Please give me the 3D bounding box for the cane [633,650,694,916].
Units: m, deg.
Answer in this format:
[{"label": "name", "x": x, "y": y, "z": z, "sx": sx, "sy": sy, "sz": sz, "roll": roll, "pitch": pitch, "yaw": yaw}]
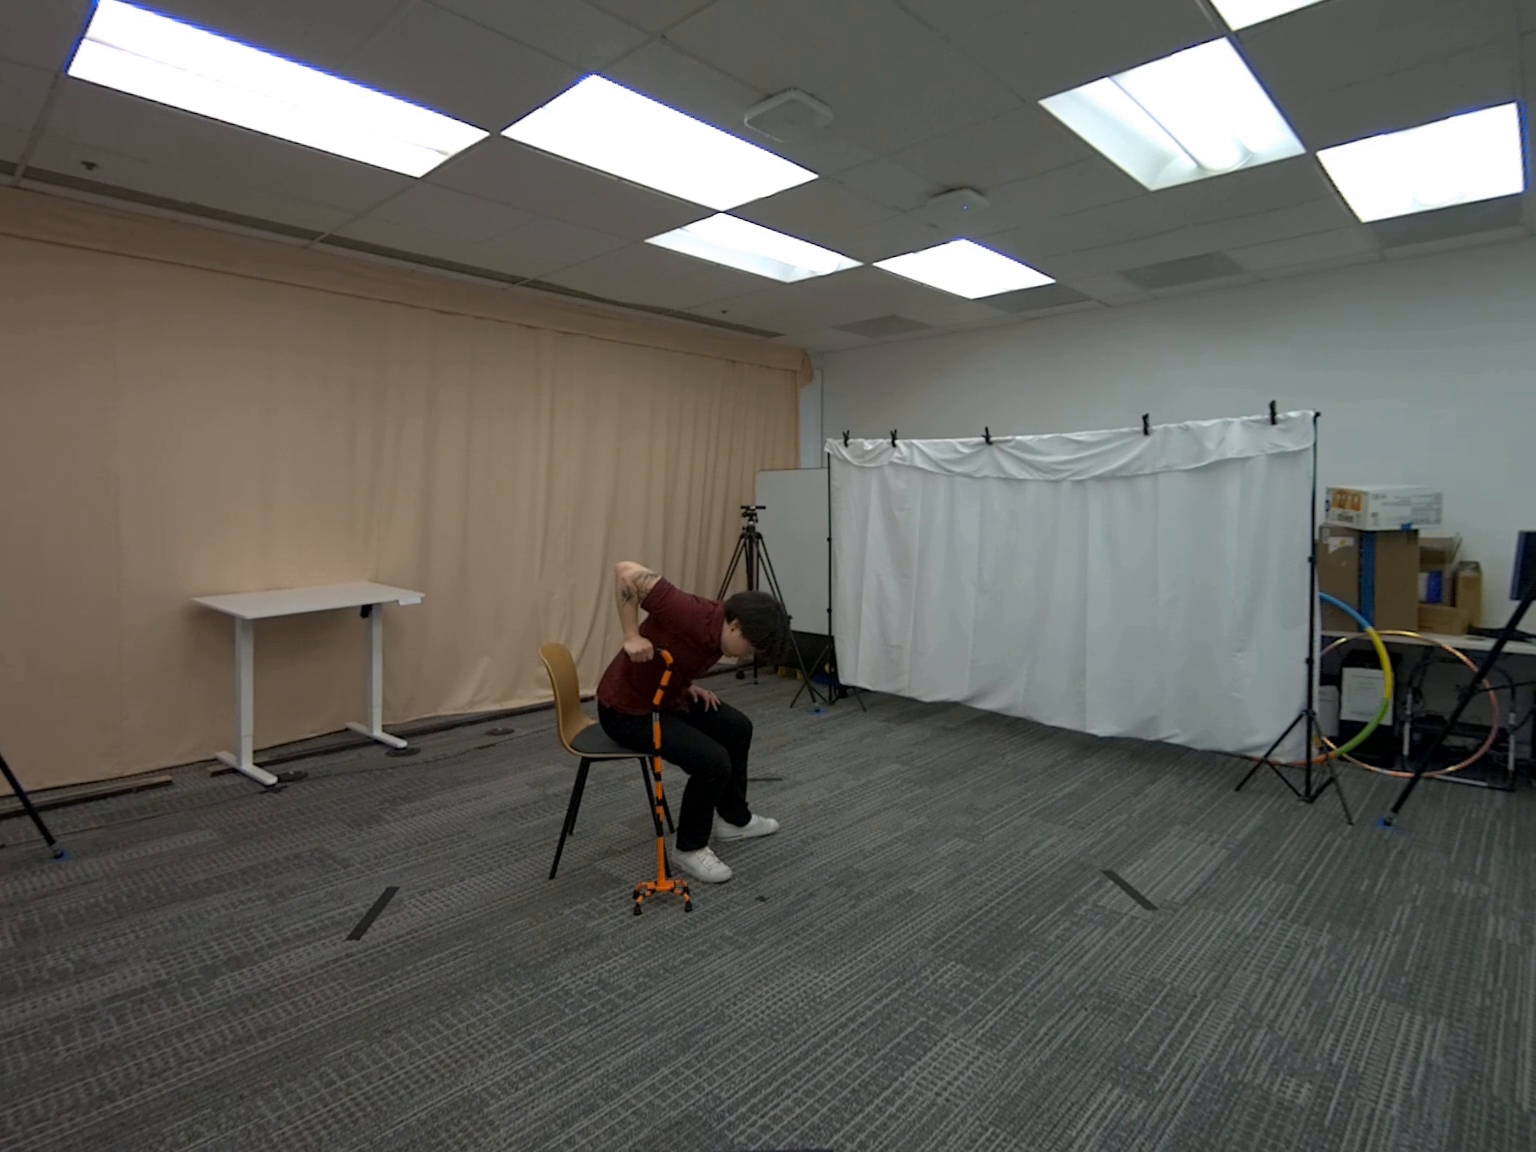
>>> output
[{"label": "cane", "x": -0.380, "y": 0.703, "z": 2.929, "sx": 0.205, "sy": 0.906, "sz": 0.153, "roll": -1, "pitch": 3, "yaw": -8}]
